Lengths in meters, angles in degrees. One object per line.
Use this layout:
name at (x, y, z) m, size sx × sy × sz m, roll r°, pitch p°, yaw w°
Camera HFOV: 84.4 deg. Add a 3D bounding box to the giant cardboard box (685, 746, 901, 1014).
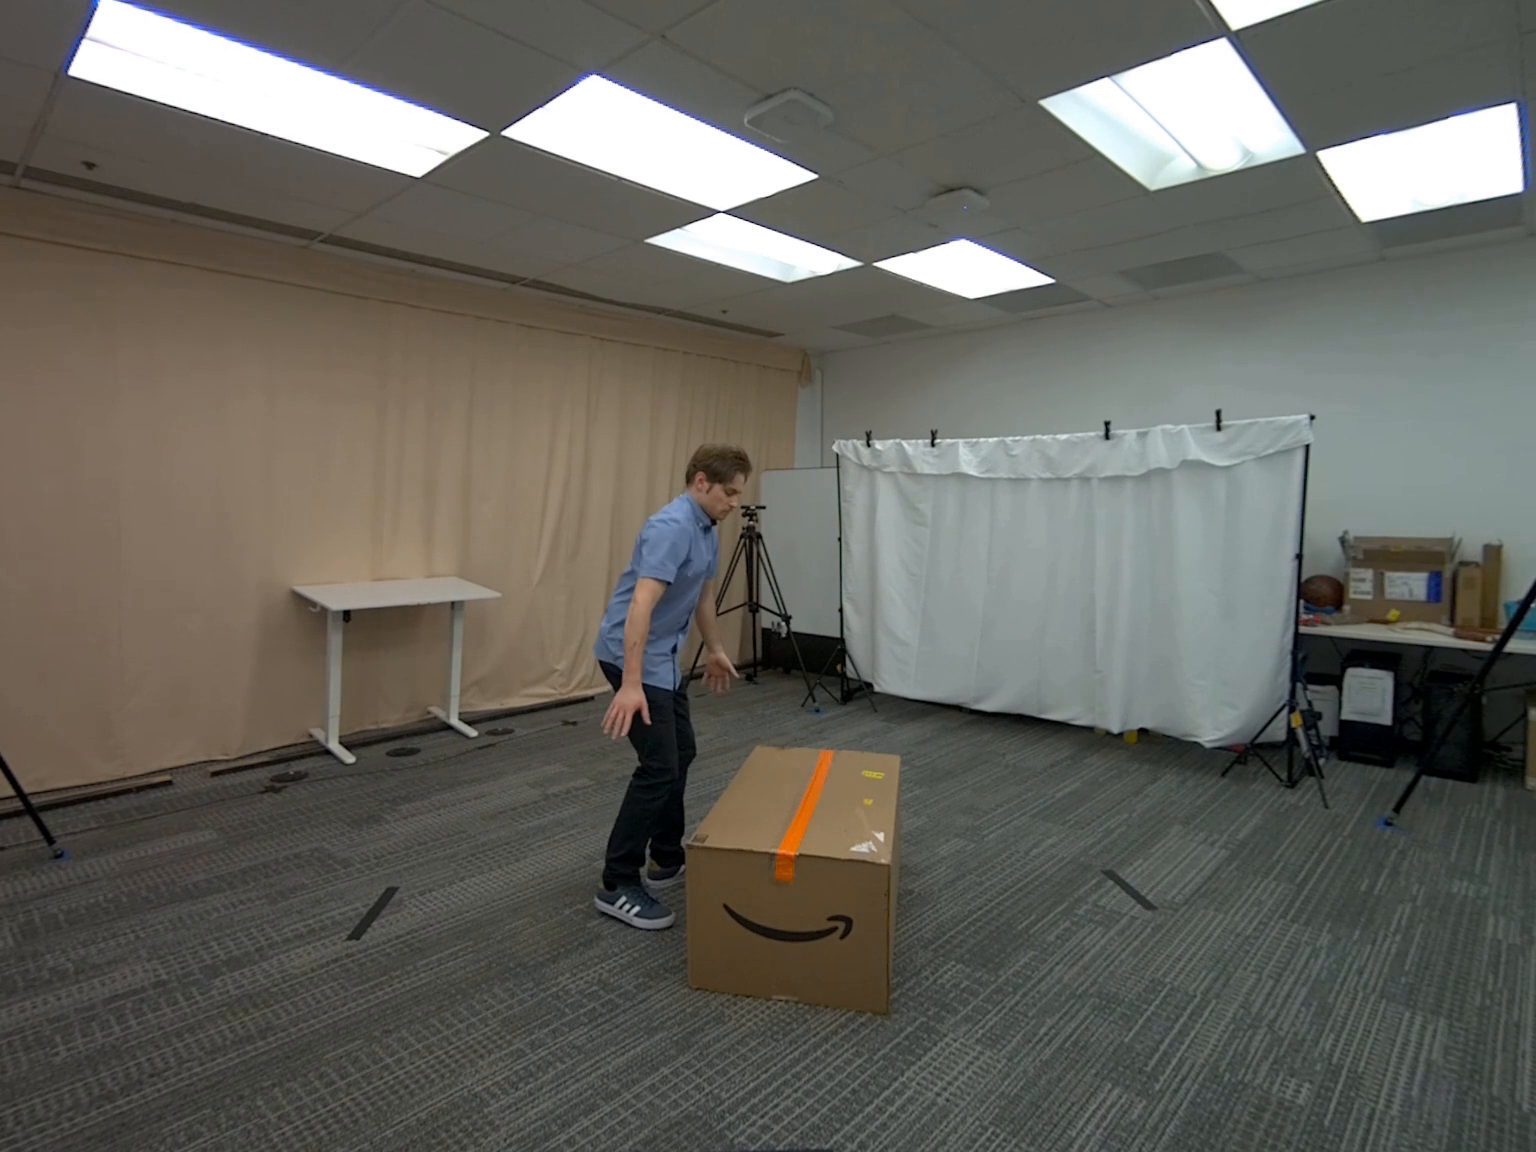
giant cardboard box at (0.143, 0.938, 2.847) m, size 0.592 × 0.445 × 1.016 m, roll -1°, pitch 5°, yaw 11°
